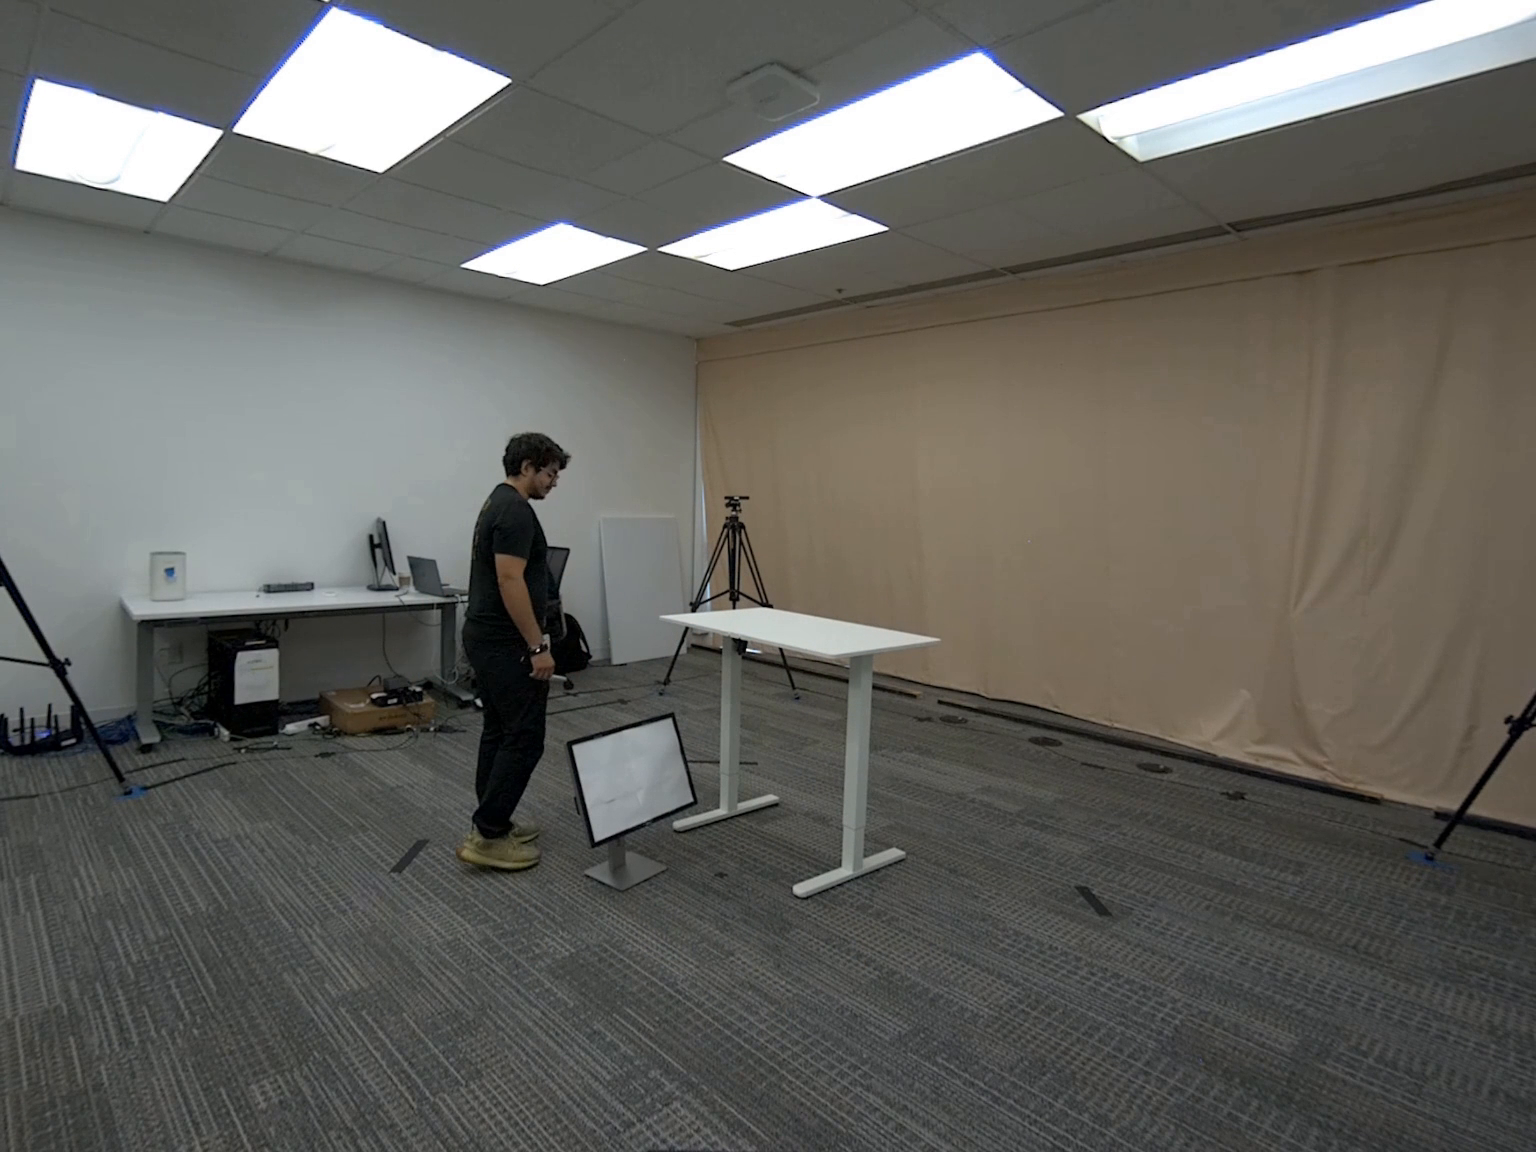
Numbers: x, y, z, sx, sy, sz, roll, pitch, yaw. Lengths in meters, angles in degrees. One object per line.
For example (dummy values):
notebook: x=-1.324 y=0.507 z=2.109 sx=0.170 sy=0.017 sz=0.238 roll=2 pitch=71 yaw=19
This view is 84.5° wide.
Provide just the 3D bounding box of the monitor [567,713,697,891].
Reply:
monitor: x=-0.547 y=0.829 z=3.107 sx=0.214 sy=0.555 sz=0.553 roll=-9 pitch=-3 yaw=35
